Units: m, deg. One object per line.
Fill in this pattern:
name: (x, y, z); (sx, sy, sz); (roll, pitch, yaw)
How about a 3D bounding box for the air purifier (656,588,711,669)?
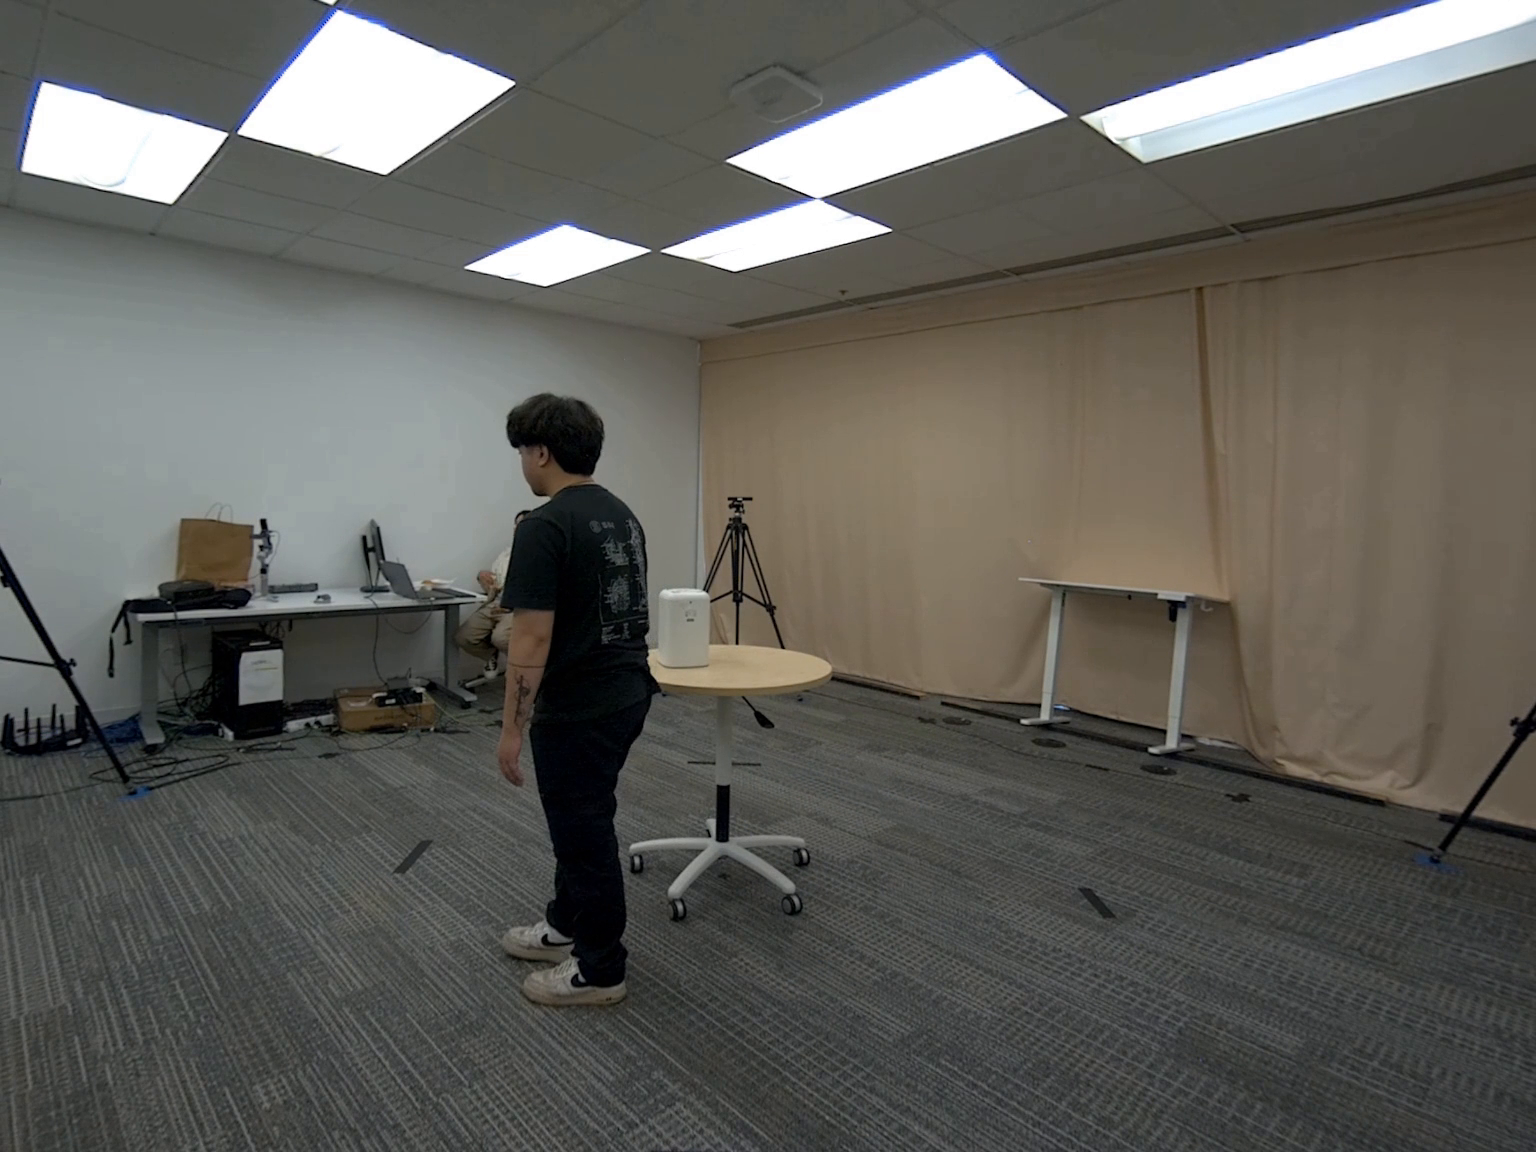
air purifier: (-0.314, 0.184, 3.036); (0.168, 0.264, 0.175); (-1, 6, -20)
